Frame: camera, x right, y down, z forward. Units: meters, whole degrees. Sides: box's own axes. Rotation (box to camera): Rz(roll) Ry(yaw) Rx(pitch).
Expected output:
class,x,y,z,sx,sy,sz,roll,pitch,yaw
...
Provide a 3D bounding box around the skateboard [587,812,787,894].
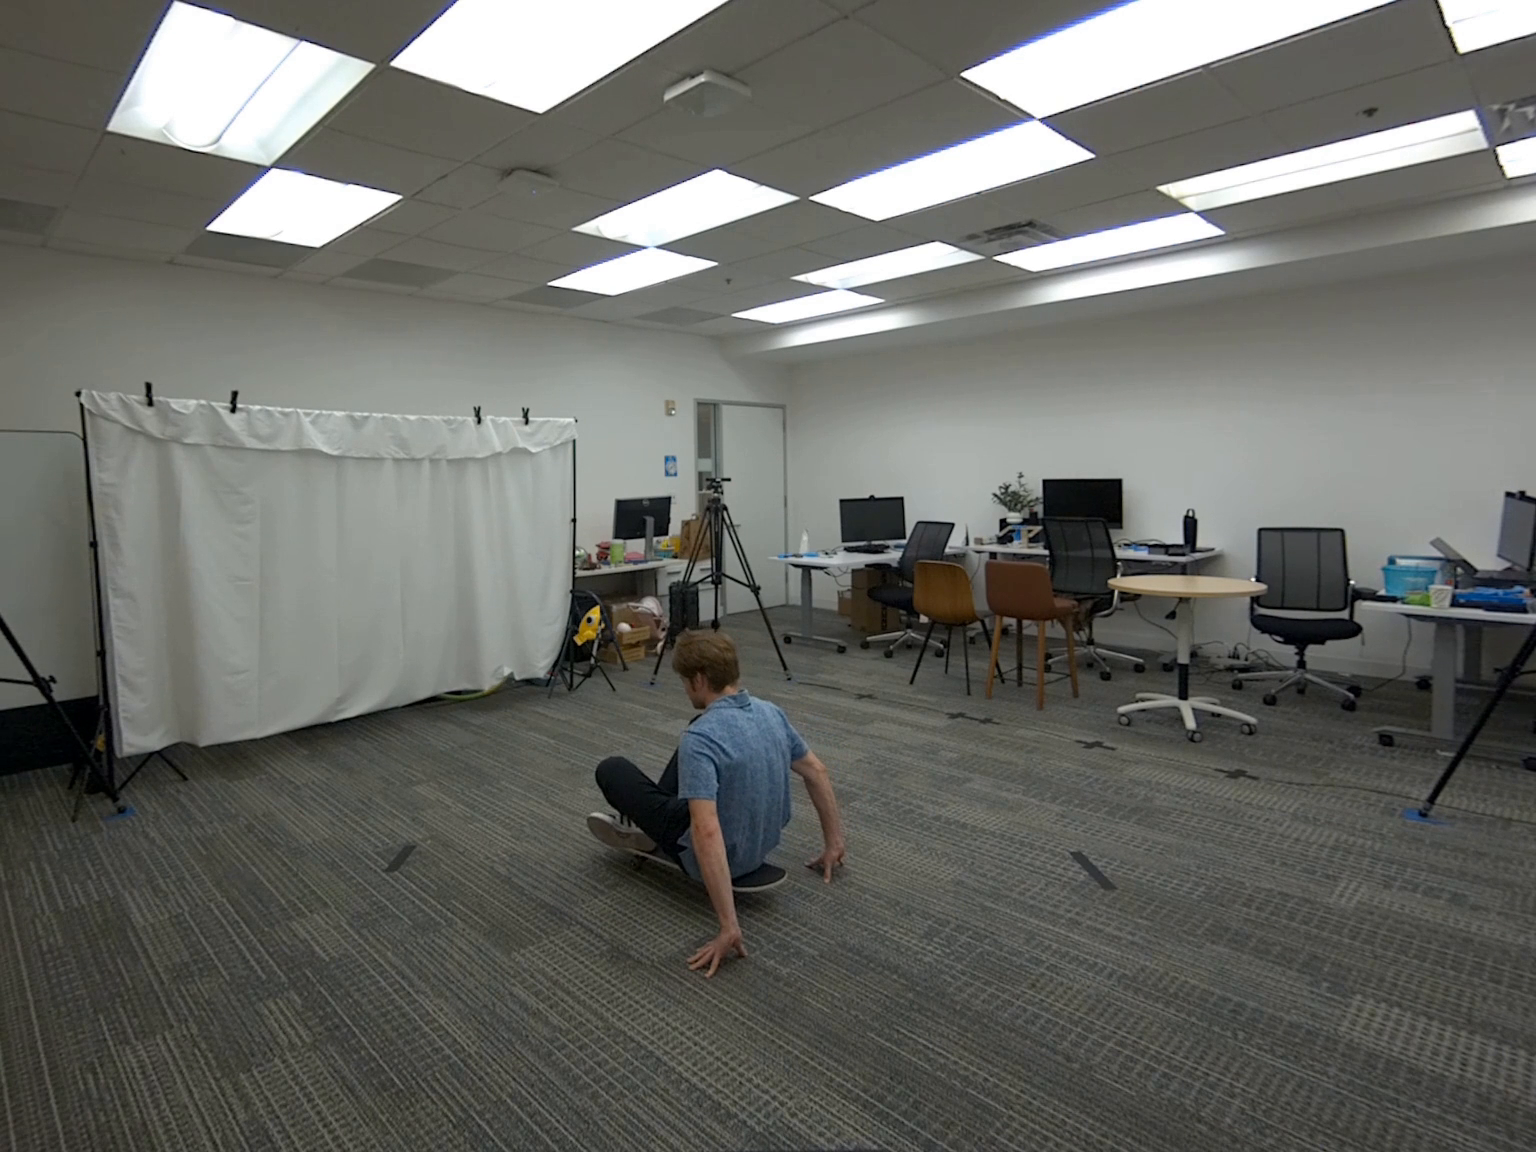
class,x,y,z,sx,sy,sz,roll,pitch,yaw
skateboard,-0.286,1.011,2.995,0.808,0.109,0.190,5,12,34
